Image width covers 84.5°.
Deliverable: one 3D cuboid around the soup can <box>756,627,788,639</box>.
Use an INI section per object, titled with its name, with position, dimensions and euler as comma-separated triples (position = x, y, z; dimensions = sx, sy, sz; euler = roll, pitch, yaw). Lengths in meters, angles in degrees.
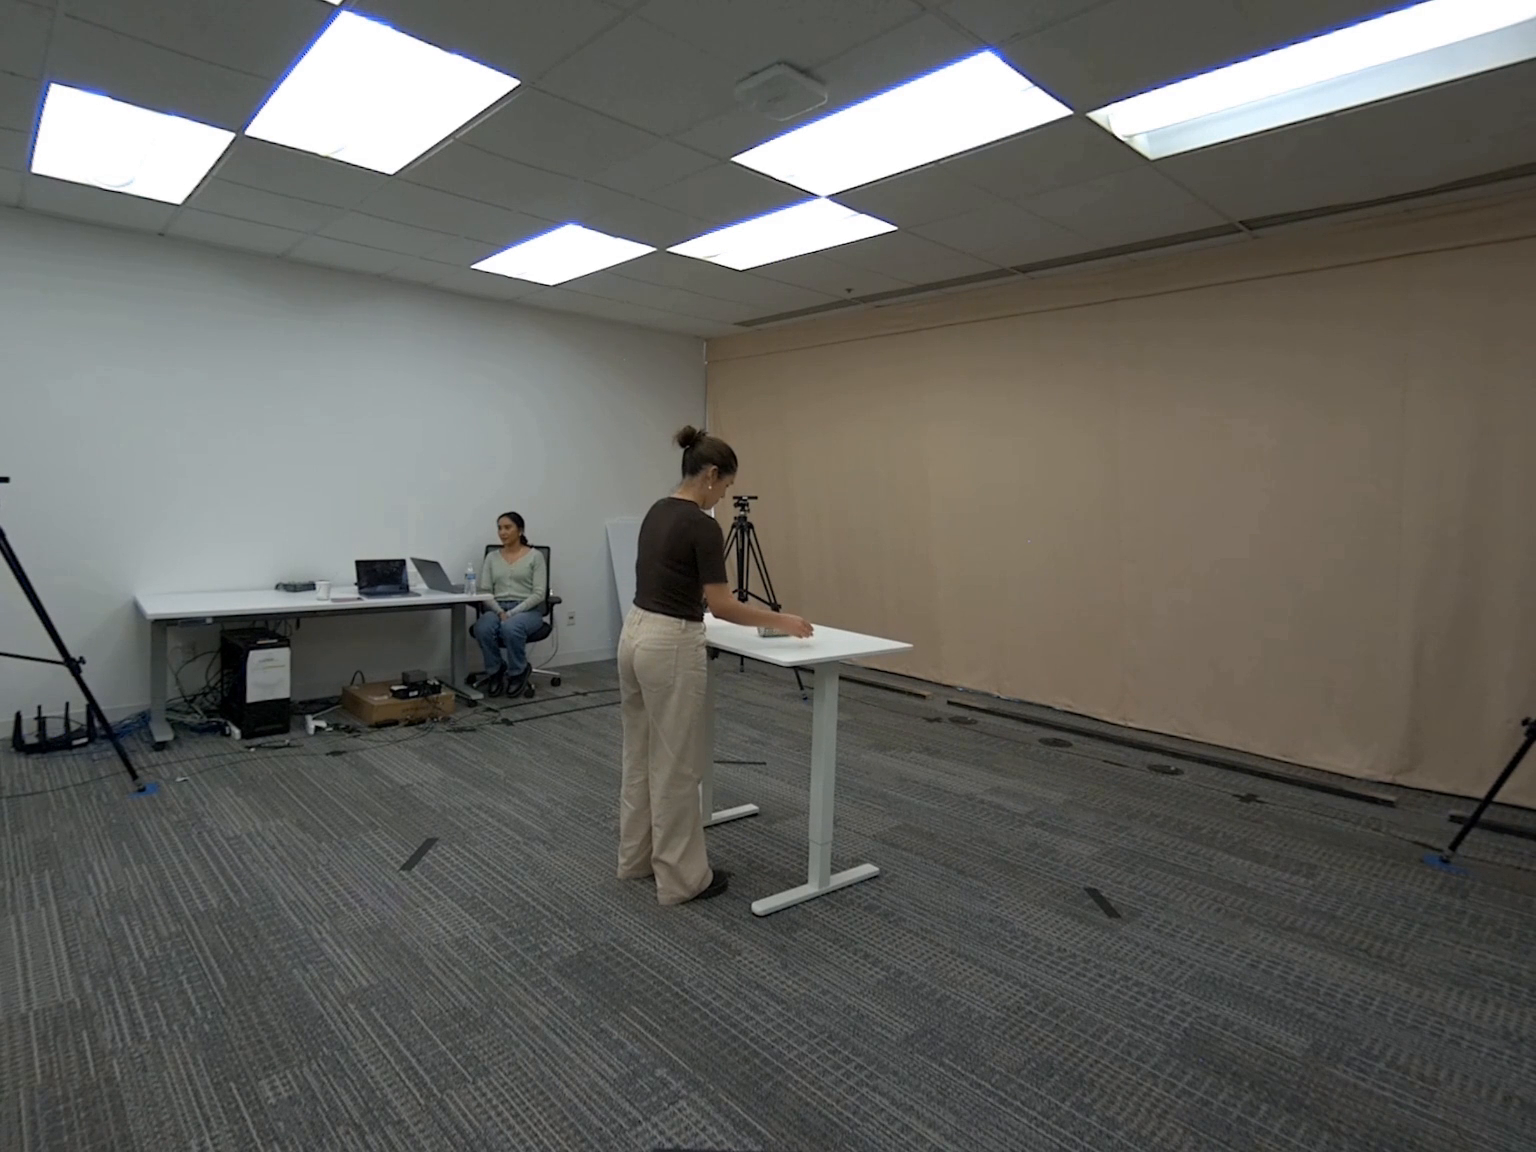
[soup can]
position = 0.032, 0.192, 3.109
dimensions = 0.119, 0.067, 0.068
euler = -2, 5, -29
